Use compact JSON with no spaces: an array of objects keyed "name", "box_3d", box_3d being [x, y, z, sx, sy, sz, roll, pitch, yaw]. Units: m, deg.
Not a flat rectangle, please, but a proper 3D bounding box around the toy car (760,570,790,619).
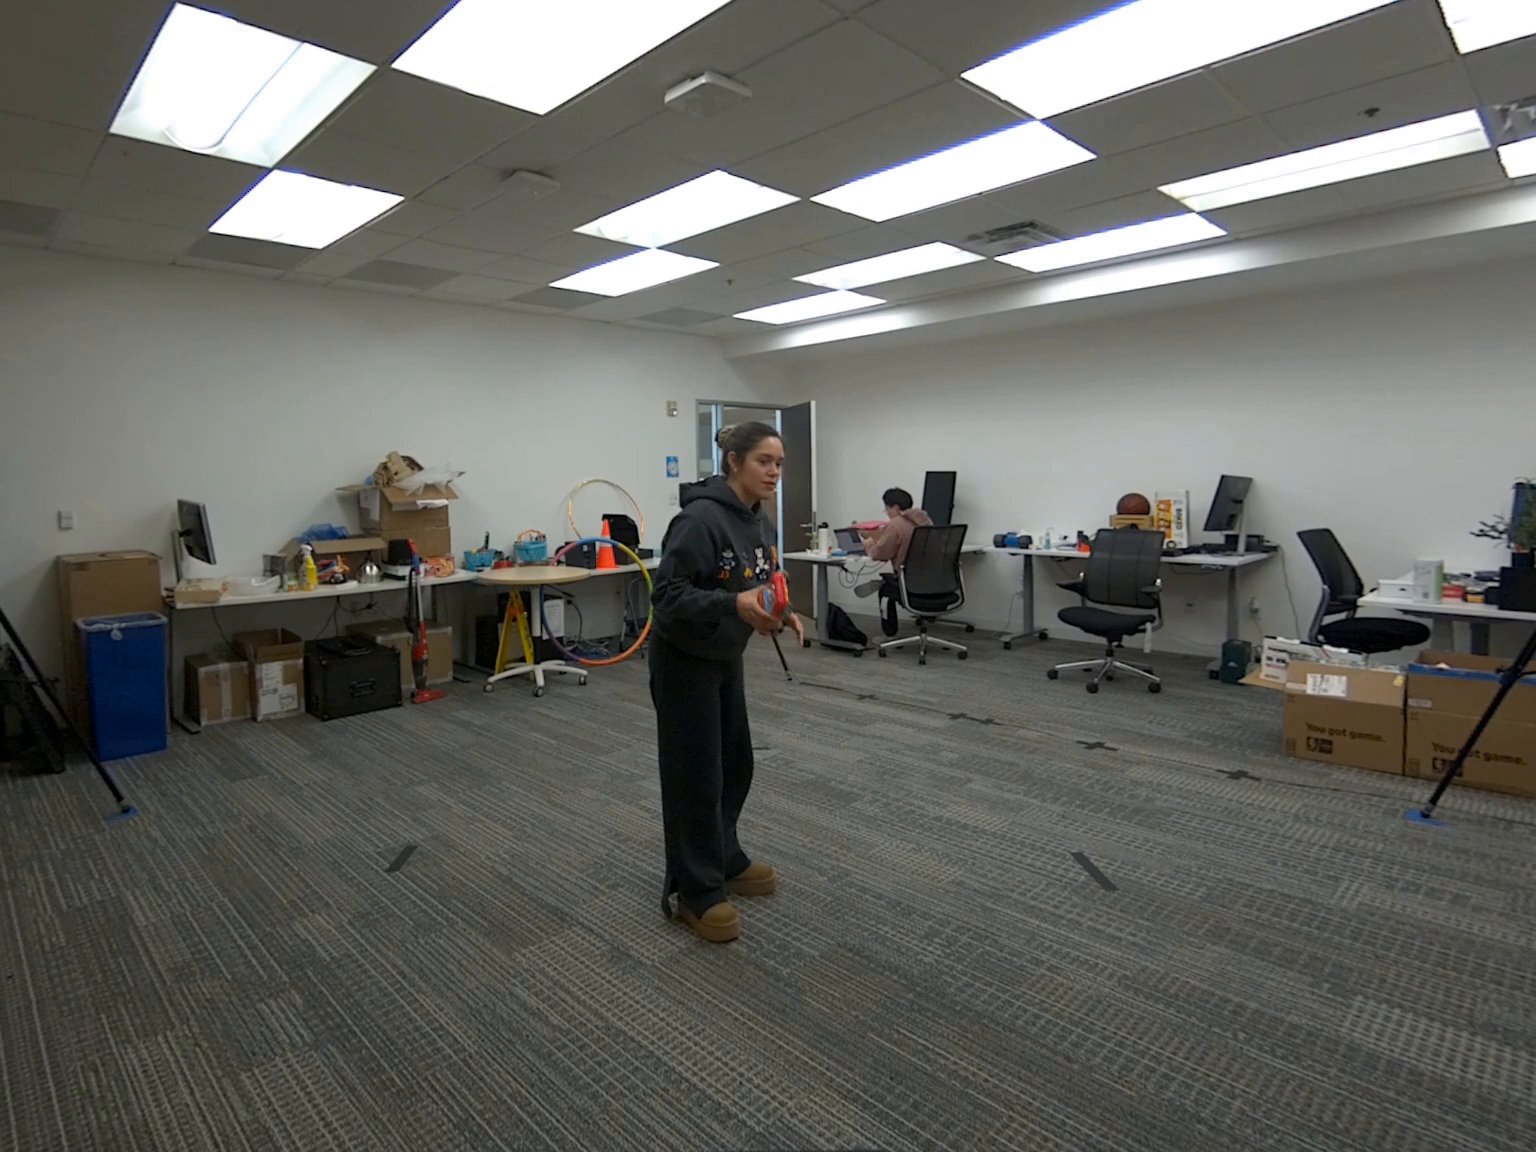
[{"name":"toy car","box_3d":[0.011,0.091,2.372,0.082,0.133,0.253,2,-23,-18]}]
